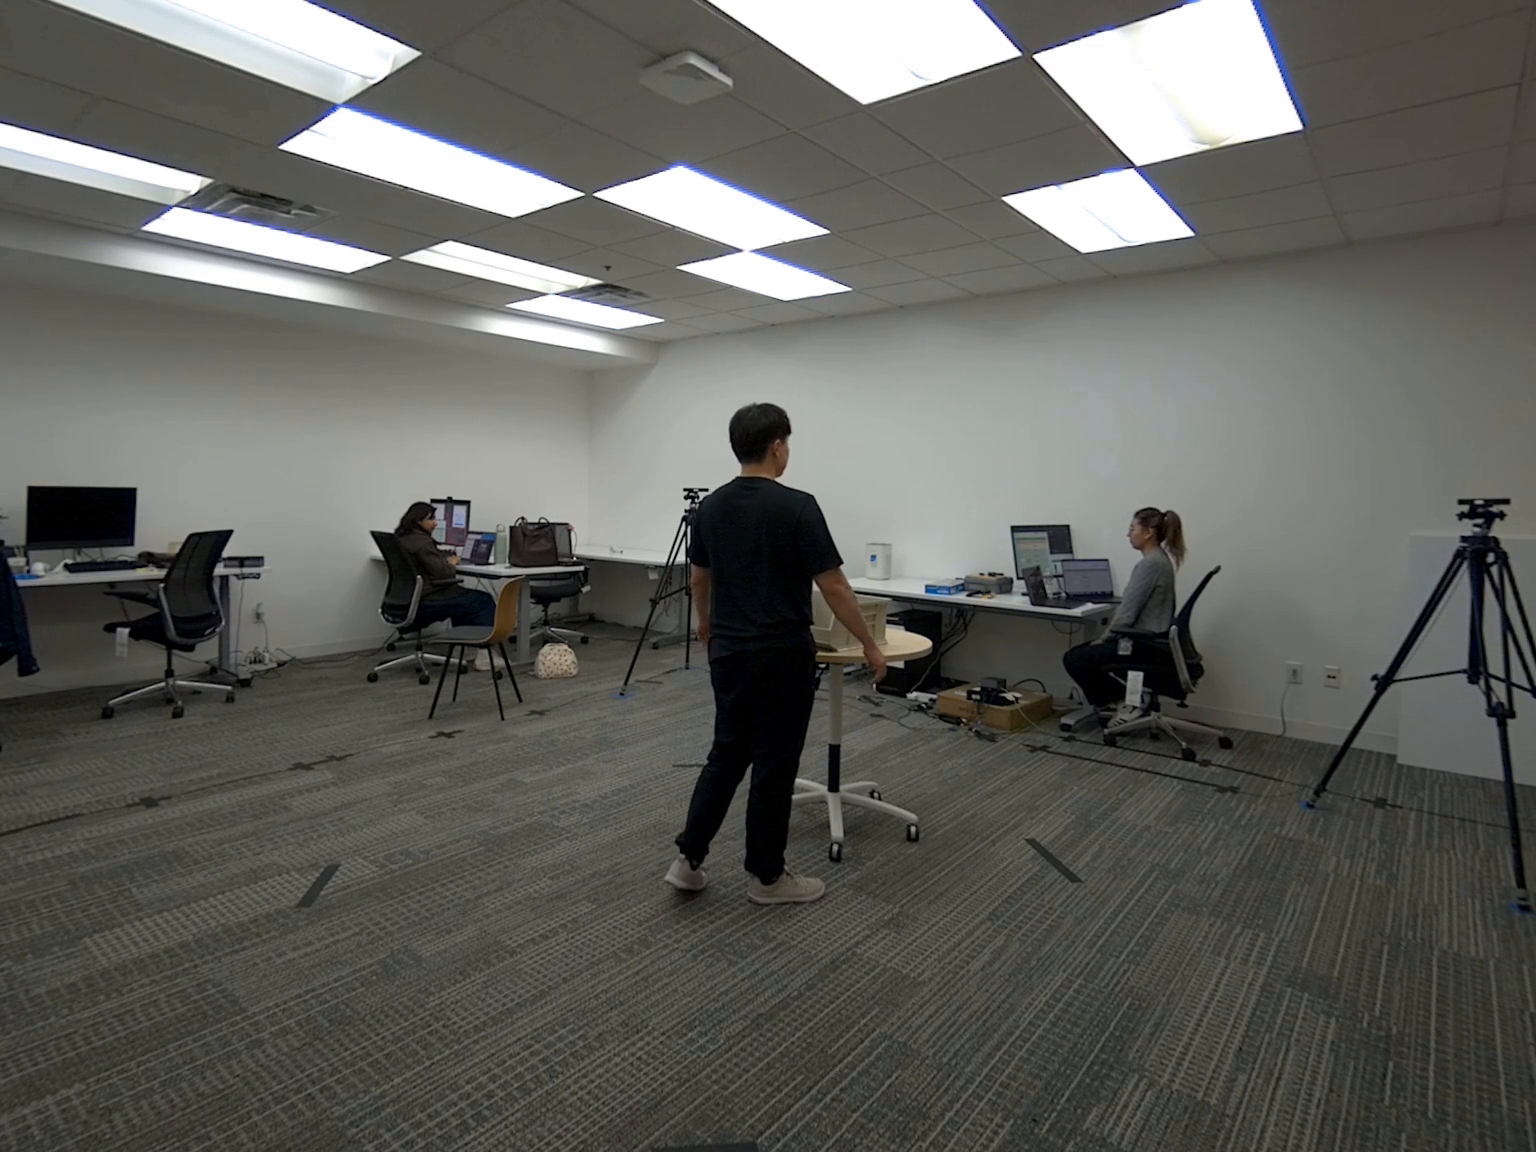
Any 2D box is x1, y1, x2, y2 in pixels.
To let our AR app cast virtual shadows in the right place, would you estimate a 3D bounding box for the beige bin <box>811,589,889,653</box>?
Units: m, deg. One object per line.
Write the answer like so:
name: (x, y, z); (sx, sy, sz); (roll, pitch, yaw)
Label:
beige bin: (0.213, 0.177, 3.447); (0.366, 0.188, 0.437); (-3, 6, -43)
